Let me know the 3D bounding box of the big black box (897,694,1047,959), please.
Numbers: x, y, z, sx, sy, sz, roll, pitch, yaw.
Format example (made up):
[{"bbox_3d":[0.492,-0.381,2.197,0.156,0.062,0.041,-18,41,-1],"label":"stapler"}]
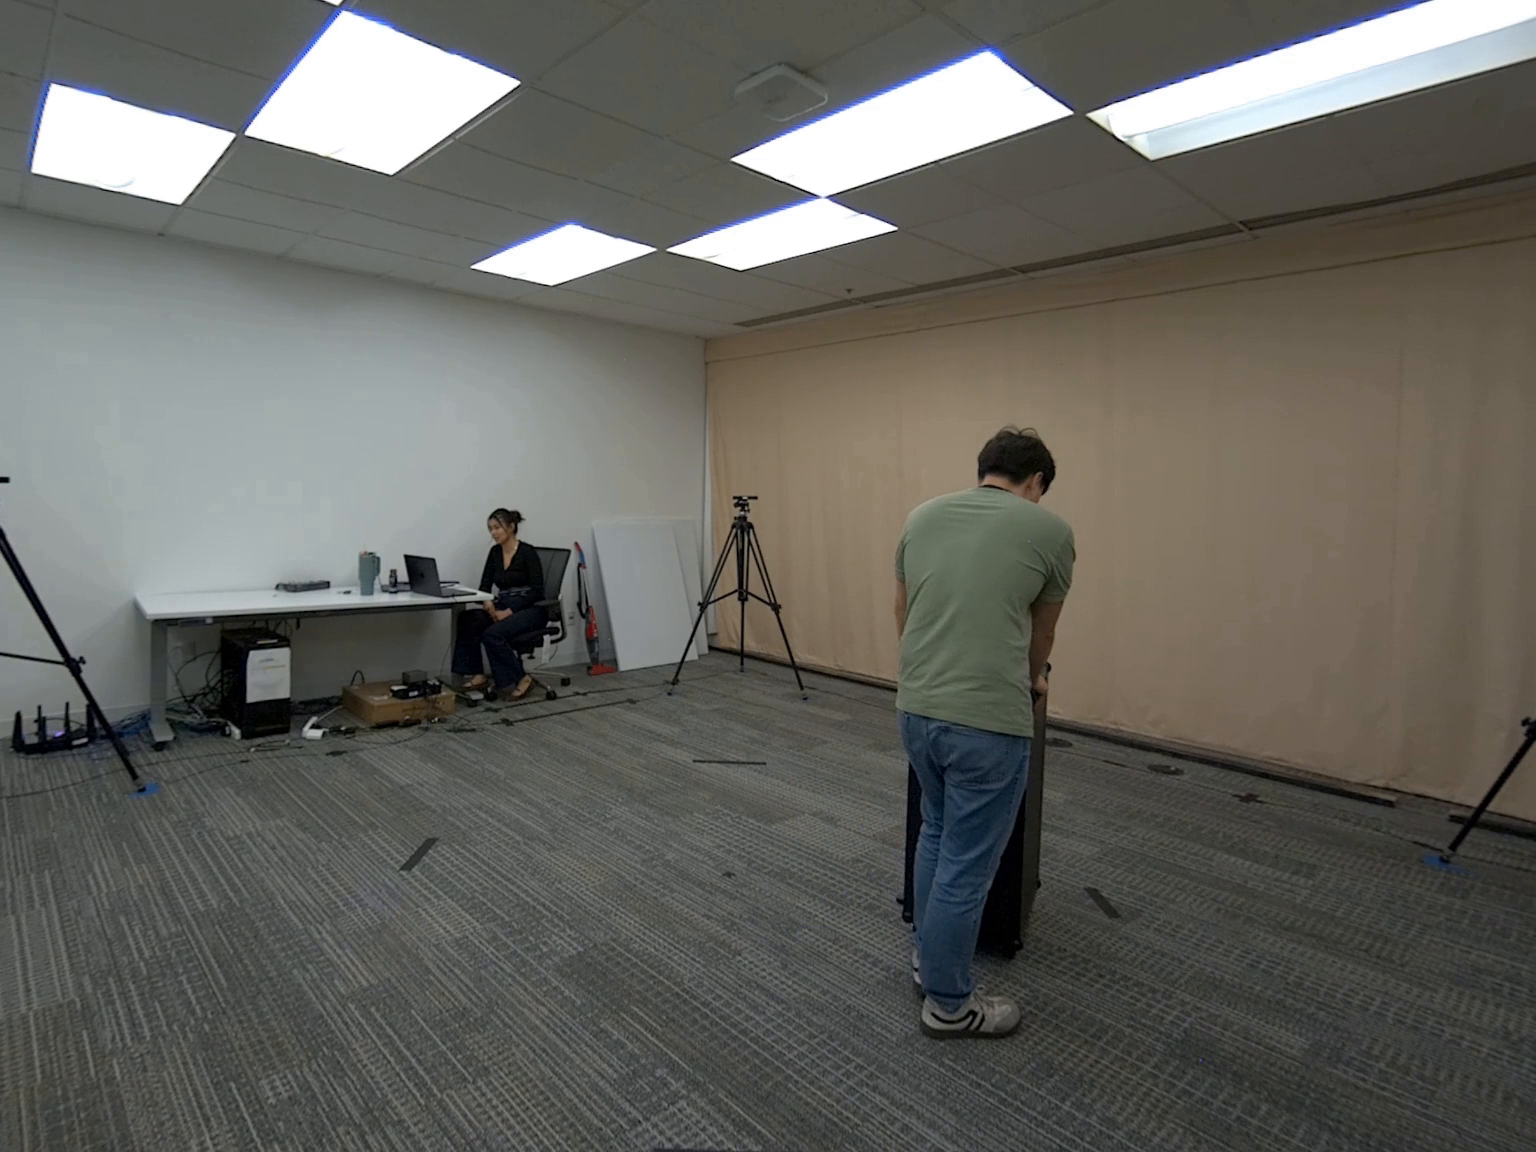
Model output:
[{"bbox_3d":[0.678,0.738,2.764,0.404,0.860,0.512,2,3,25],"label":"big black box"}]
